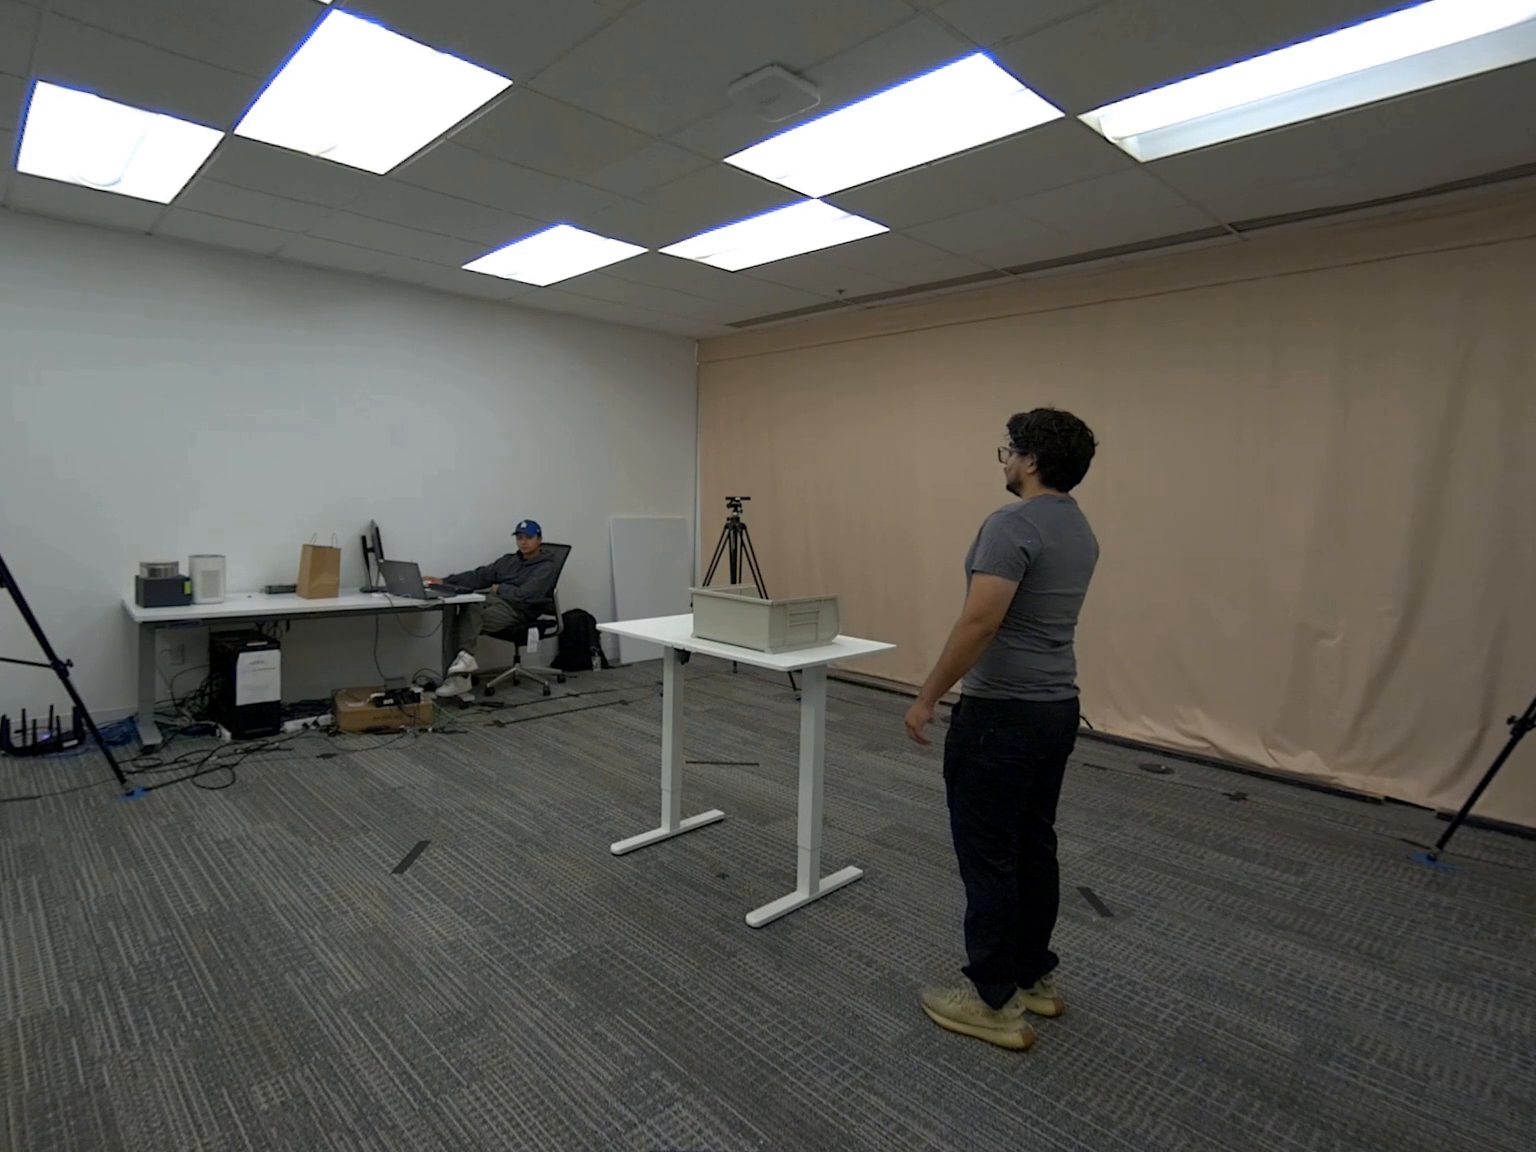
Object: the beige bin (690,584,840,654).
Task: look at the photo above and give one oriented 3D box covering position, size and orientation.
[{"bbox_3d":[-0.016,0.146,3.035,0.369,0.188,0.433,-5,9,-45],"label":"beige bin"}]
